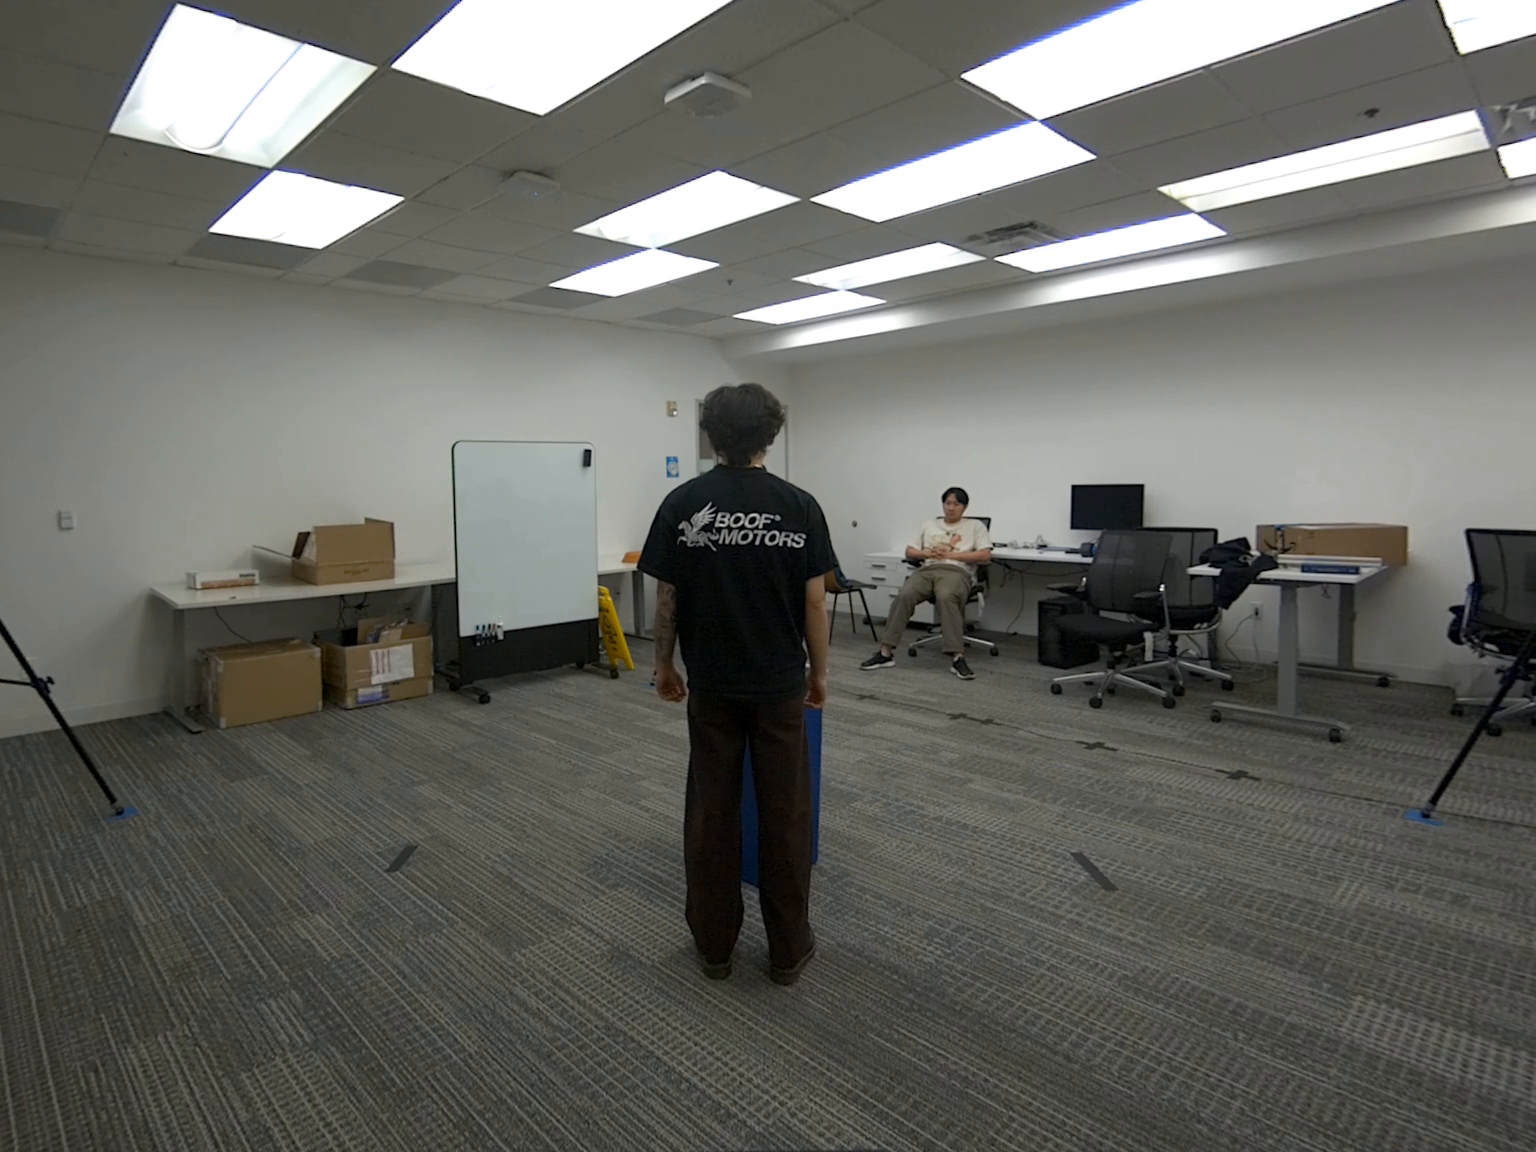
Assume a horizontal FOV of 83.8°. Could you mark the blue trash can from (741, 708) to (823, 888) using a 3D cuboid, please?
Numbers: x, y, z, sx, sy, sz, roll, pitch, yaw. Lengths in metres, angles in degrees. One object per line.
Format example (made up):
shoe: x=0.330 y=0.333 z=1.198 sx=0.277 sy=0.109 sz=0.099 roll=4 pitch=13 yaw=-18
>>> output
blue trash can: x=-0.020 y=0.688 z=3.086 sx=0.385 sy=0.711 sz=0.368 roll=3 pitch=6 yaw=45
